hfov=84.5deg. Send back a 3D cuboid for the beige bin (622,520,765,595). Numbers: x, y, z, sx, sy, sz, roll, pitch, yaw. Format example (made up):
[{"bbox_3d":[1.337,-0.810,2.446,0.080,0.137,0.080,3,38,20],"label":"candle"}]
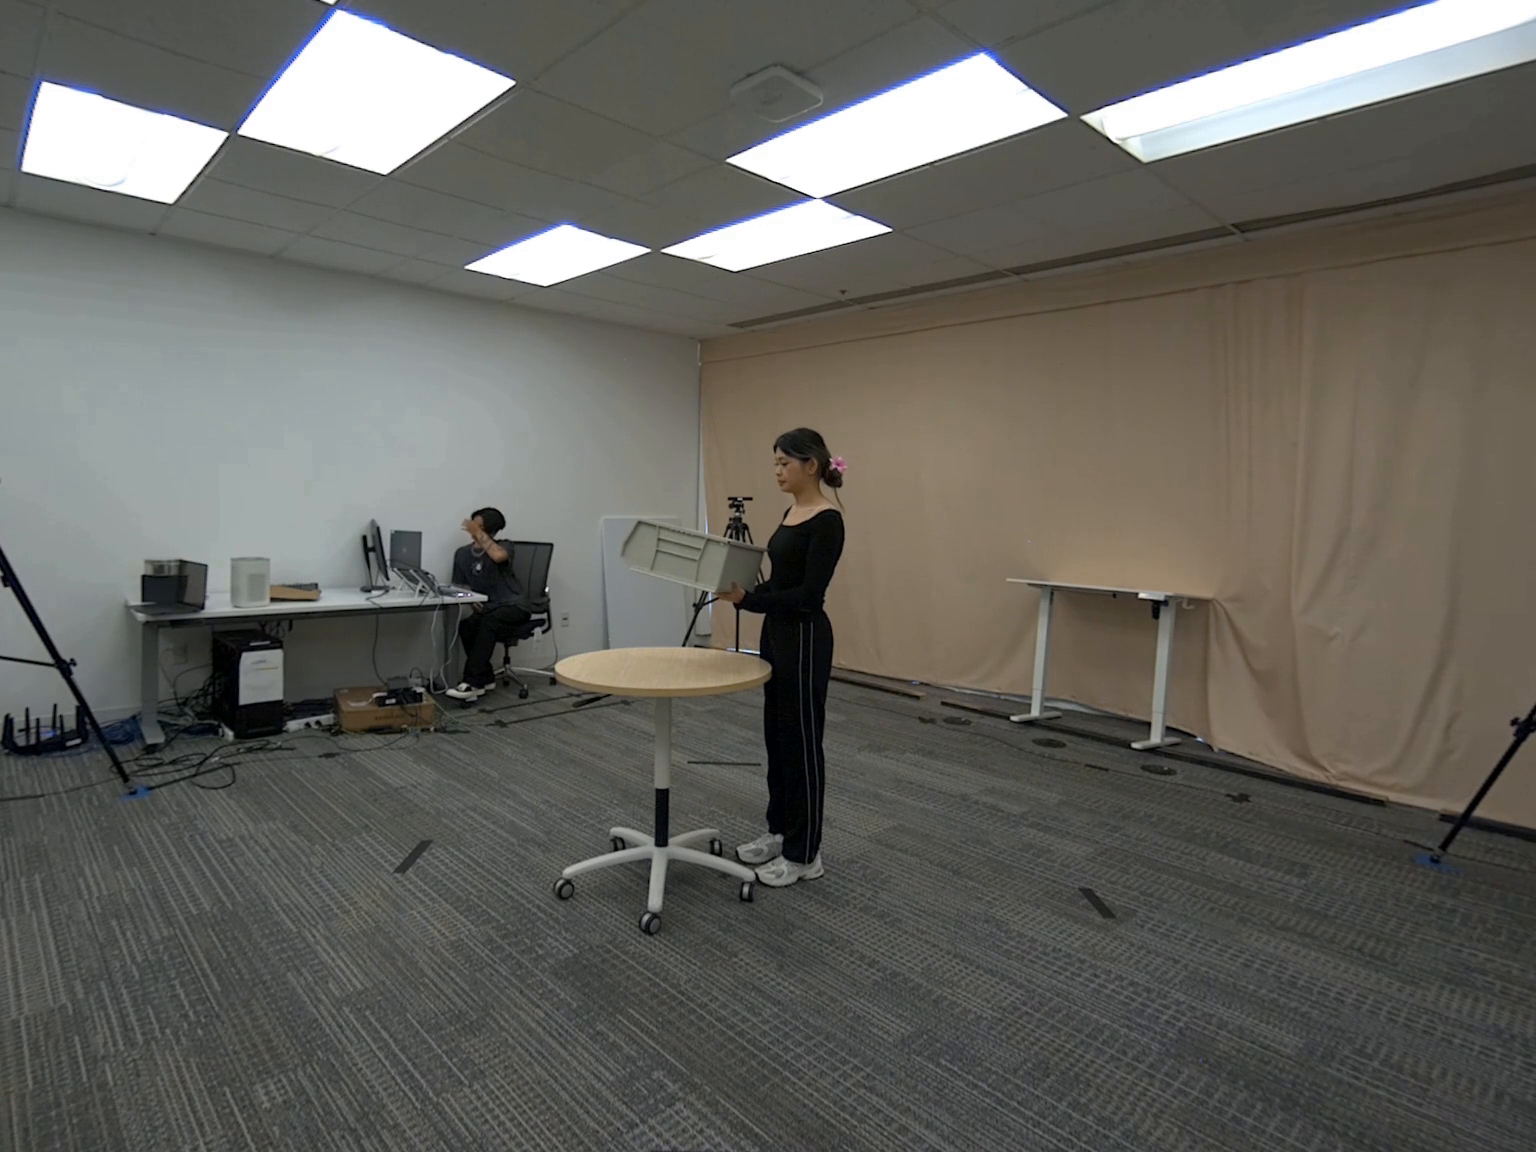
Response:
[{"bbox_3d":[-0.264,-0.060,2.940,0.384,0.189,0.415,16,2,19],"label":"beige bin"}]
